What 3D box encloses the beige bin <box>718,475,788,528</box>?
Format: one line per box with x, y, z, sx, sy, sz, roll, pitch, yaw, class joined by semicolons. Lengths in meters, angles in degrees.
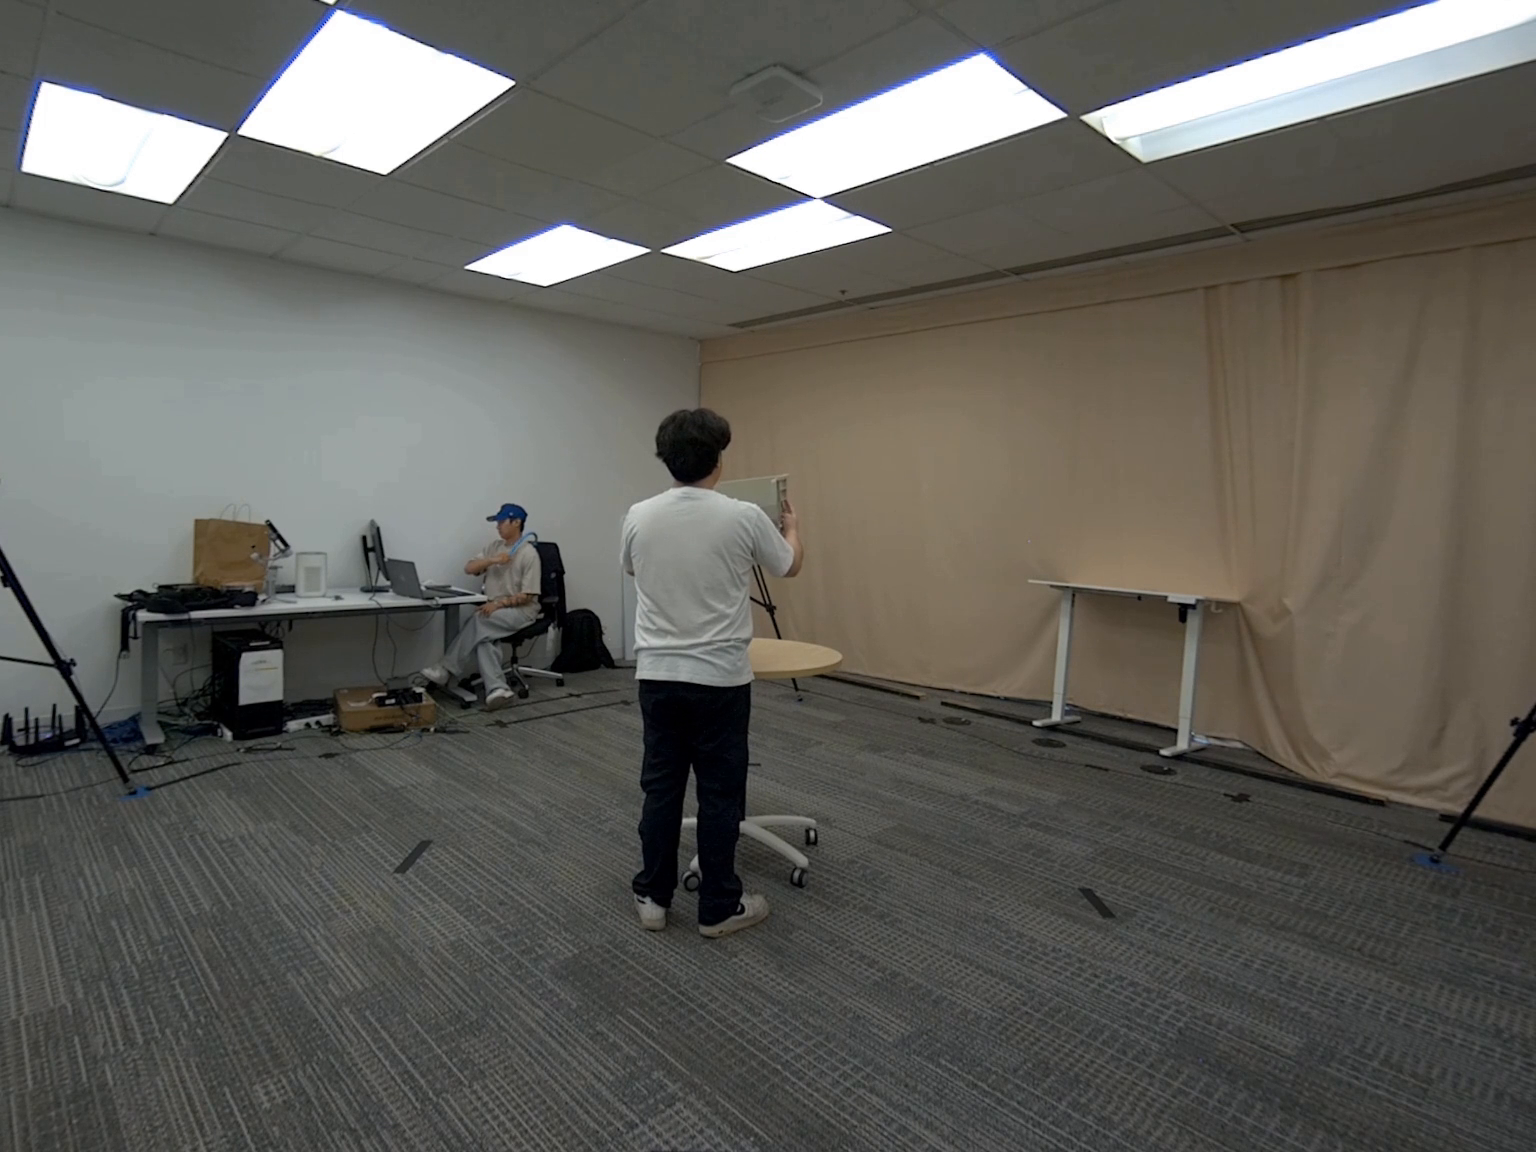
-0.143;-0.270;3.170;0.425;0.188;0.376;-5;5;8;beige bin
